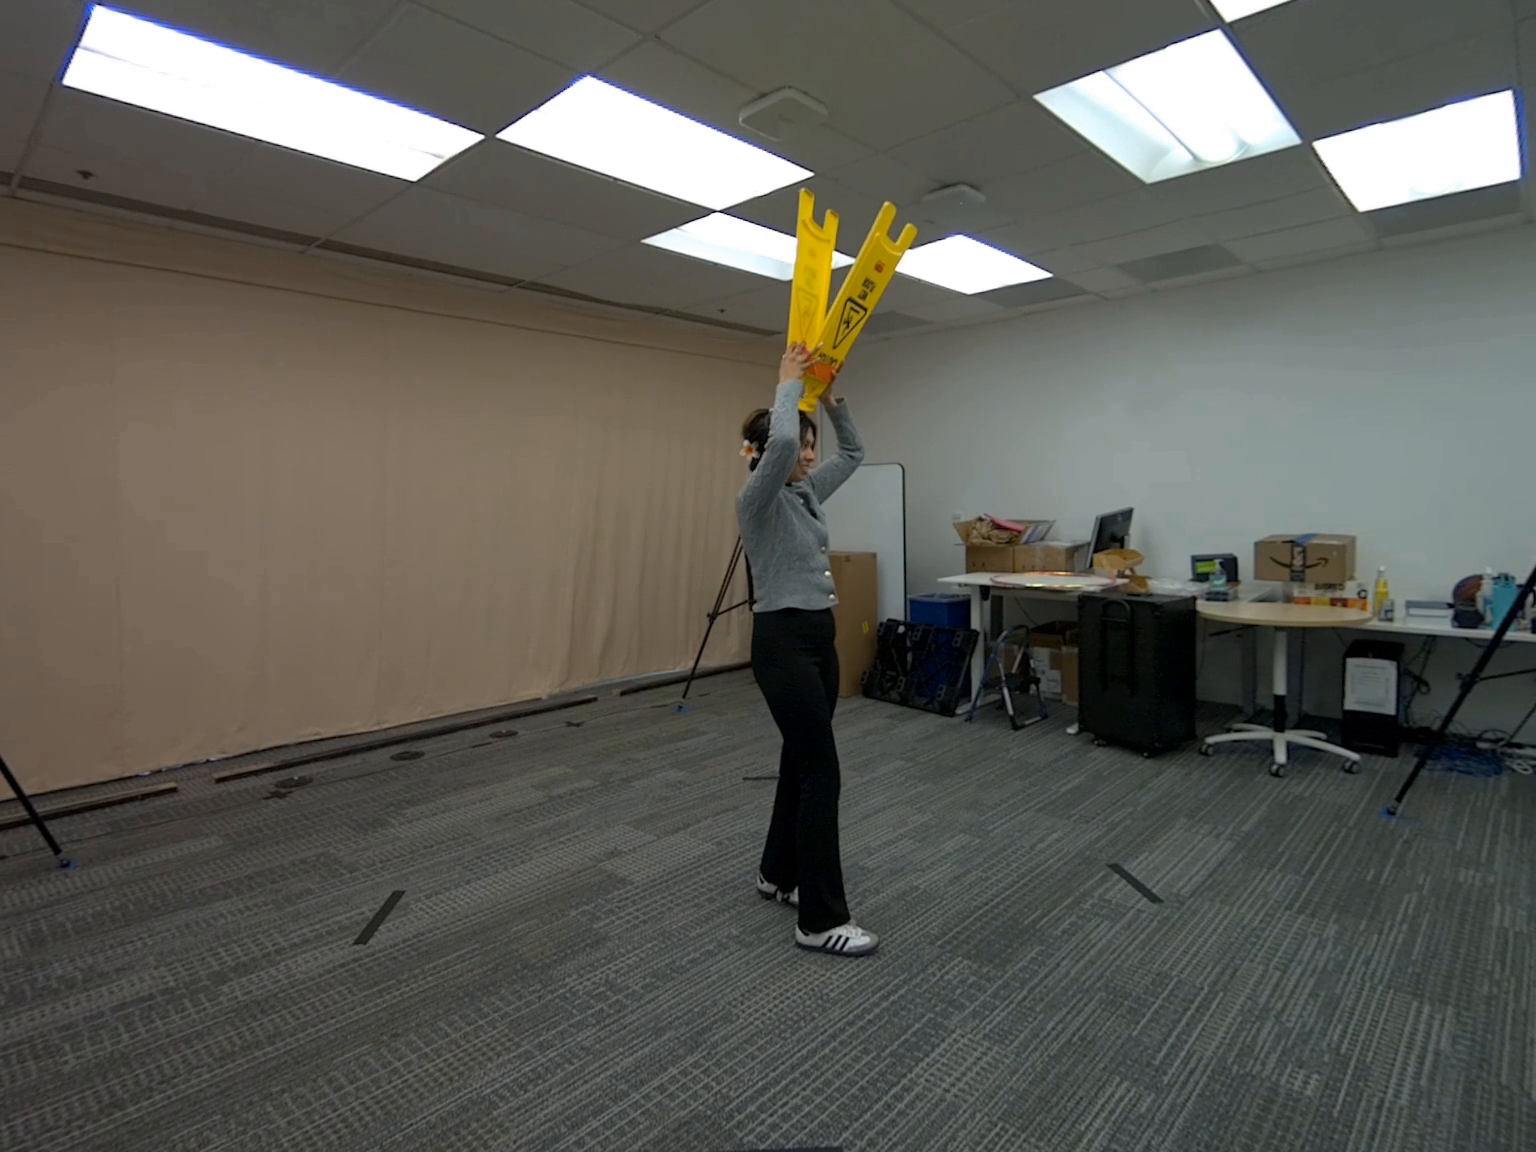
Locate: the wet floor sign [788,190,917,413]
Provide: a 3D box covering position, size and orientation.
[{"bbox_3d":[0.195,-0.845,2.689,0.299,0.644,0.274,24,13,27],"label":"wet floor sign"}]
